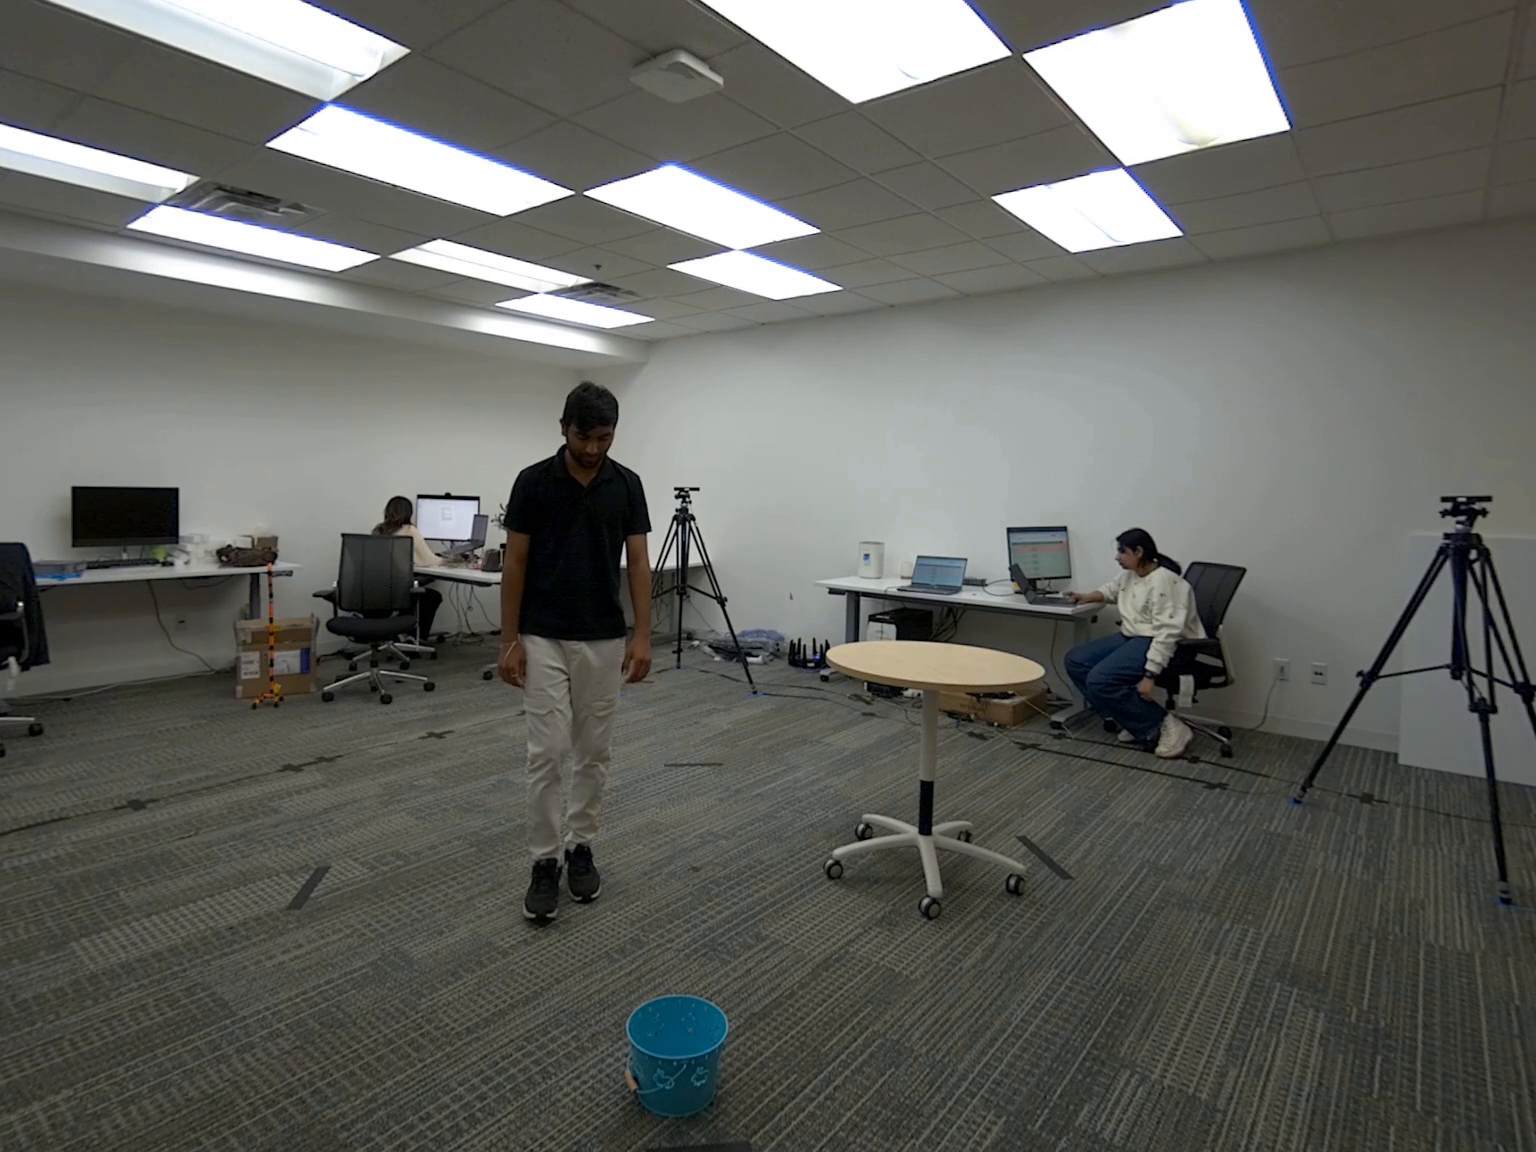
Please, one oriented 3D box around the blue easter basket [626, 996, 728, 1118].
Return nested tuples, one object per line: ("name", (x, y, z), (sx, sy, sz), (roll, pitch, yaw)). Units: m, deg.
("blue easter basket", (-0.216, 1.103, 1.971), (0.243, 0.155, 0.245), (1, 5, -2))
